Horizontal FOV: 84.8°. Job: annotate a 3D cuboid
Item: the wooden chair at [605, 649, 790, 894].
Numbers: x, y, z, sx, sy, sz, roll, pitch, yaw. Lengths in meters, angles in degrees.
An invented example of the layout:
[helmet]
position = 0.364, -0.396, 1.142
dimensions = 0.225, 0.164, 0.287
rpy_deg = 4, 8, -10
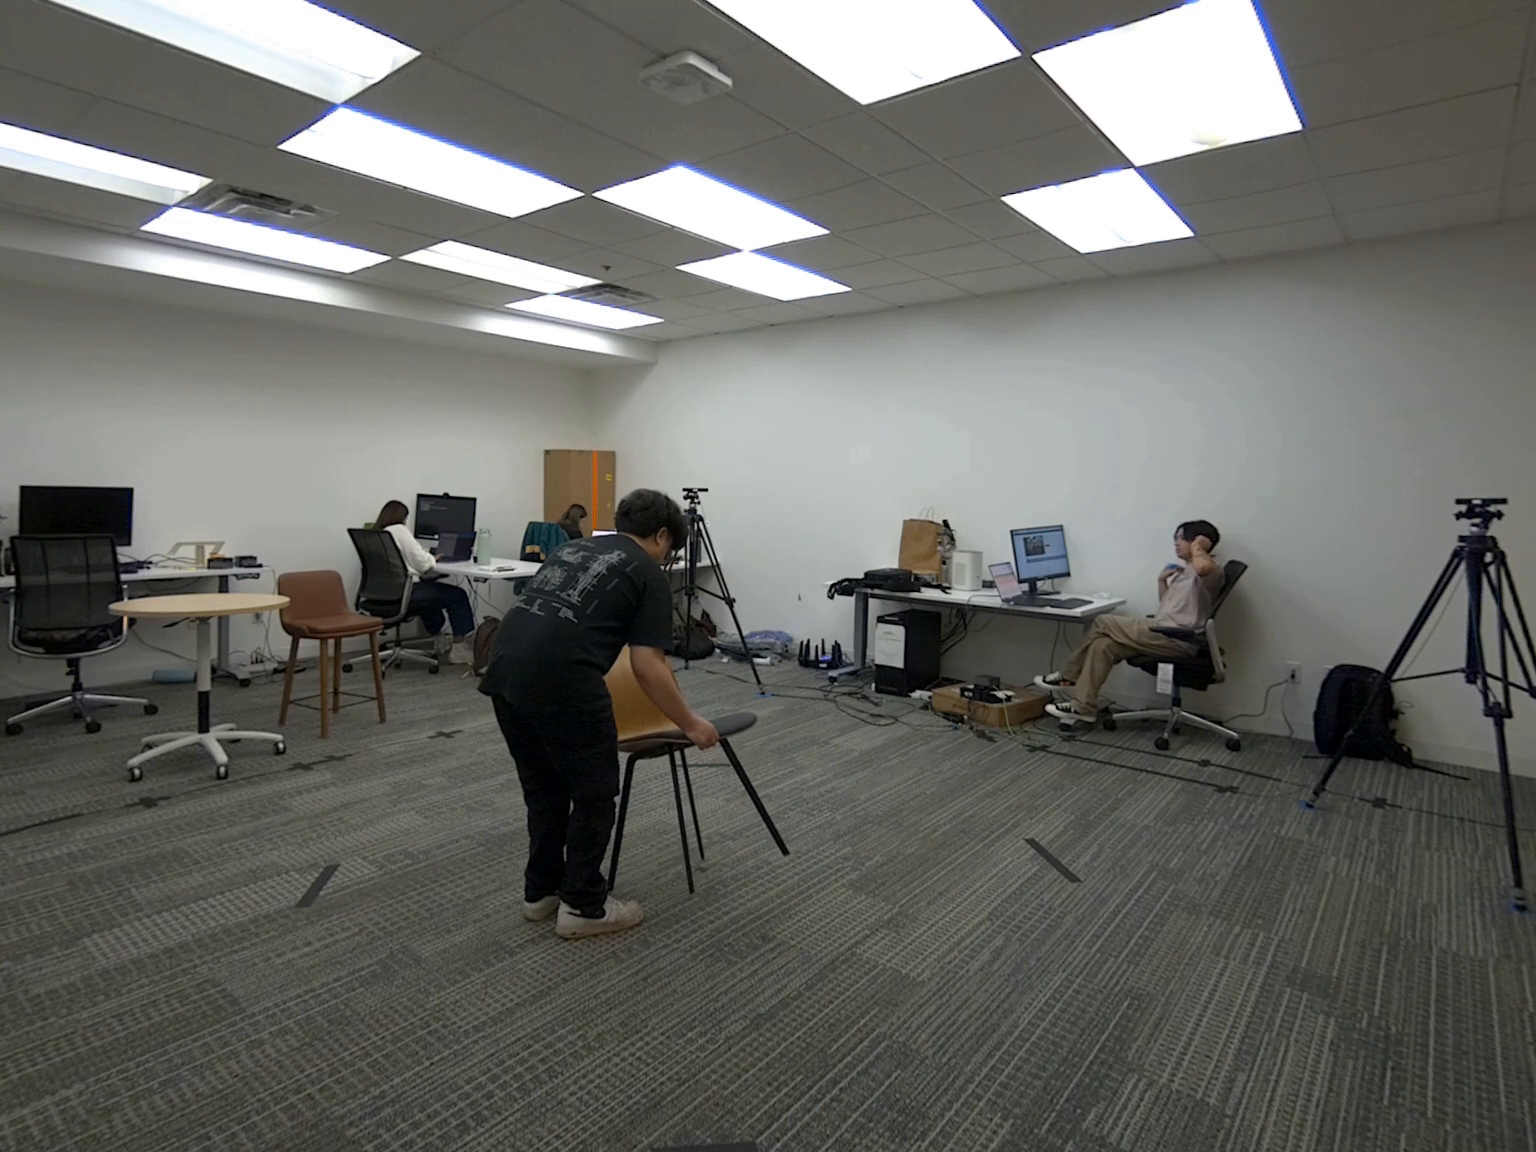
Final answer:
[wooden chair]
position = -0.323, 0.600, 2.974
dimensions = 0.463, 0.891, 0.531
rpy_deg = -2, -18, -45
